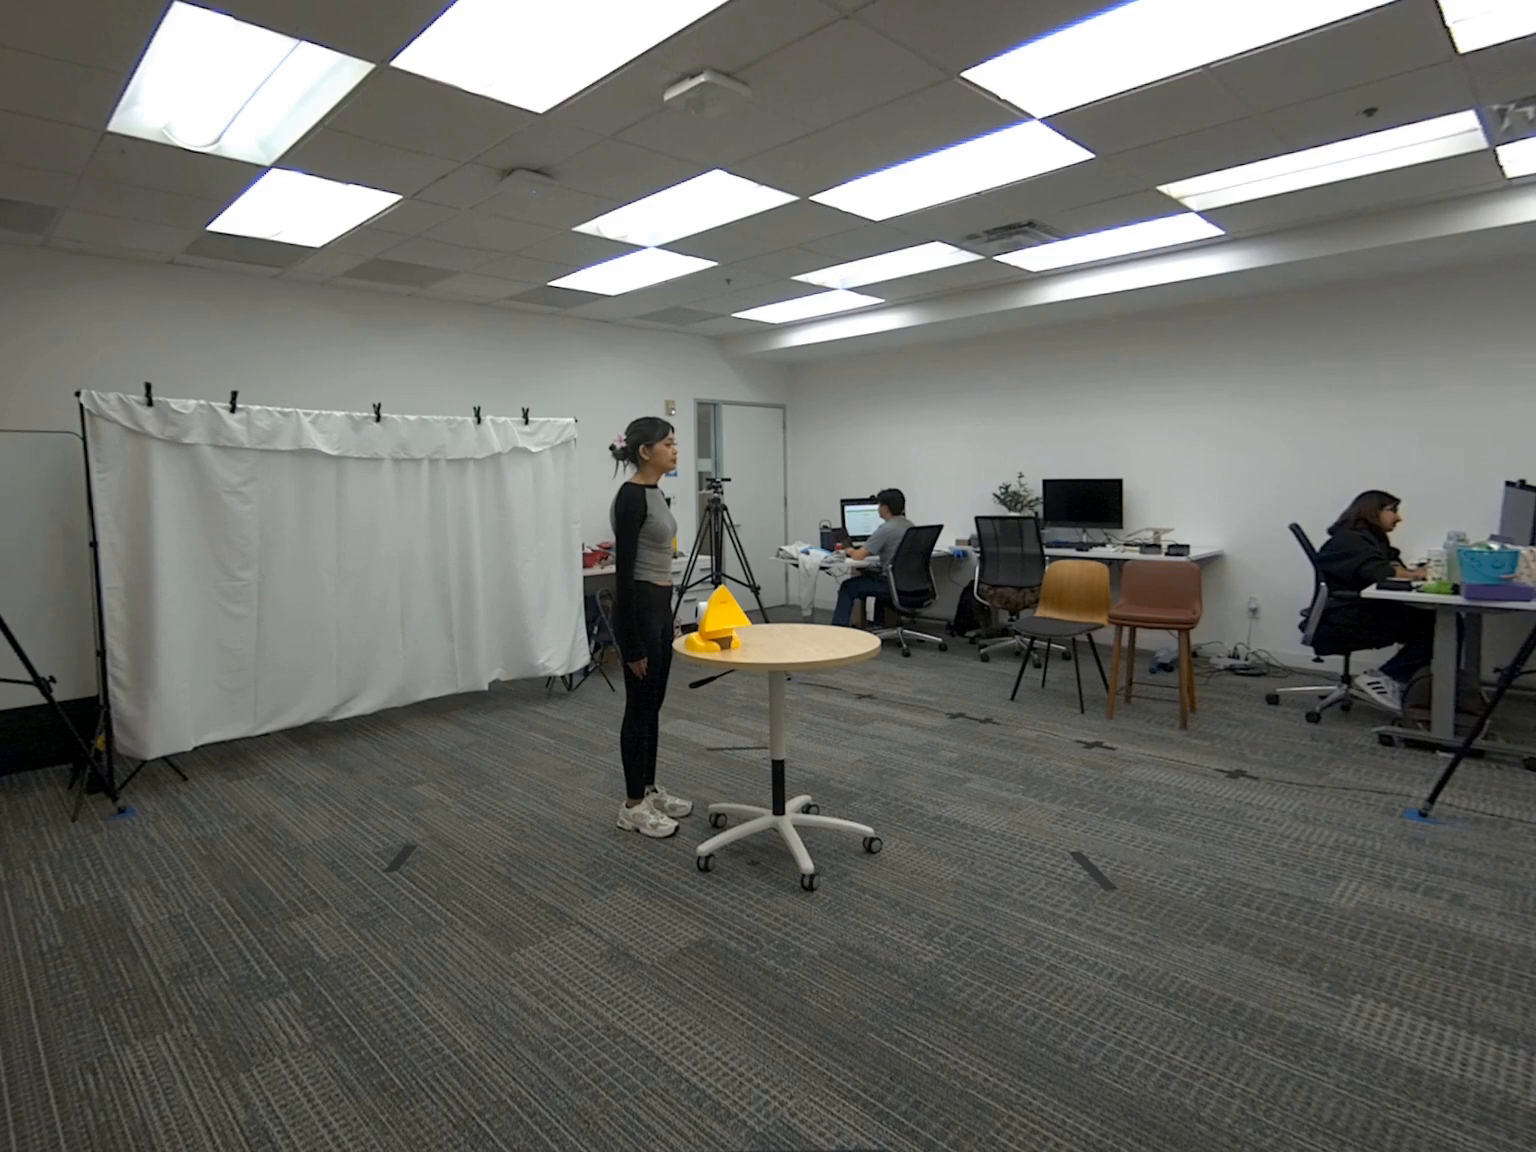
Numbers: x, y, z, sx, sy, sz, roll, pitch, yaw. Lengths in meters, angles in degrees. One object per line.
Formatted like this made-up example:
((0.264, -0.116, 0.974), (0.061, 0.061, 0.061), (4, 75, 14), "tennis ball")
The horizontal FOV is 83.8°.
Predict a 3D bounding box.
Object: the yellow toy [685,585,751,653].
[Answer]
((-0.194, 0.143, 3.076), (0.199, 0.230, 0.199), (-5, 5, -39), "yellow toy")
